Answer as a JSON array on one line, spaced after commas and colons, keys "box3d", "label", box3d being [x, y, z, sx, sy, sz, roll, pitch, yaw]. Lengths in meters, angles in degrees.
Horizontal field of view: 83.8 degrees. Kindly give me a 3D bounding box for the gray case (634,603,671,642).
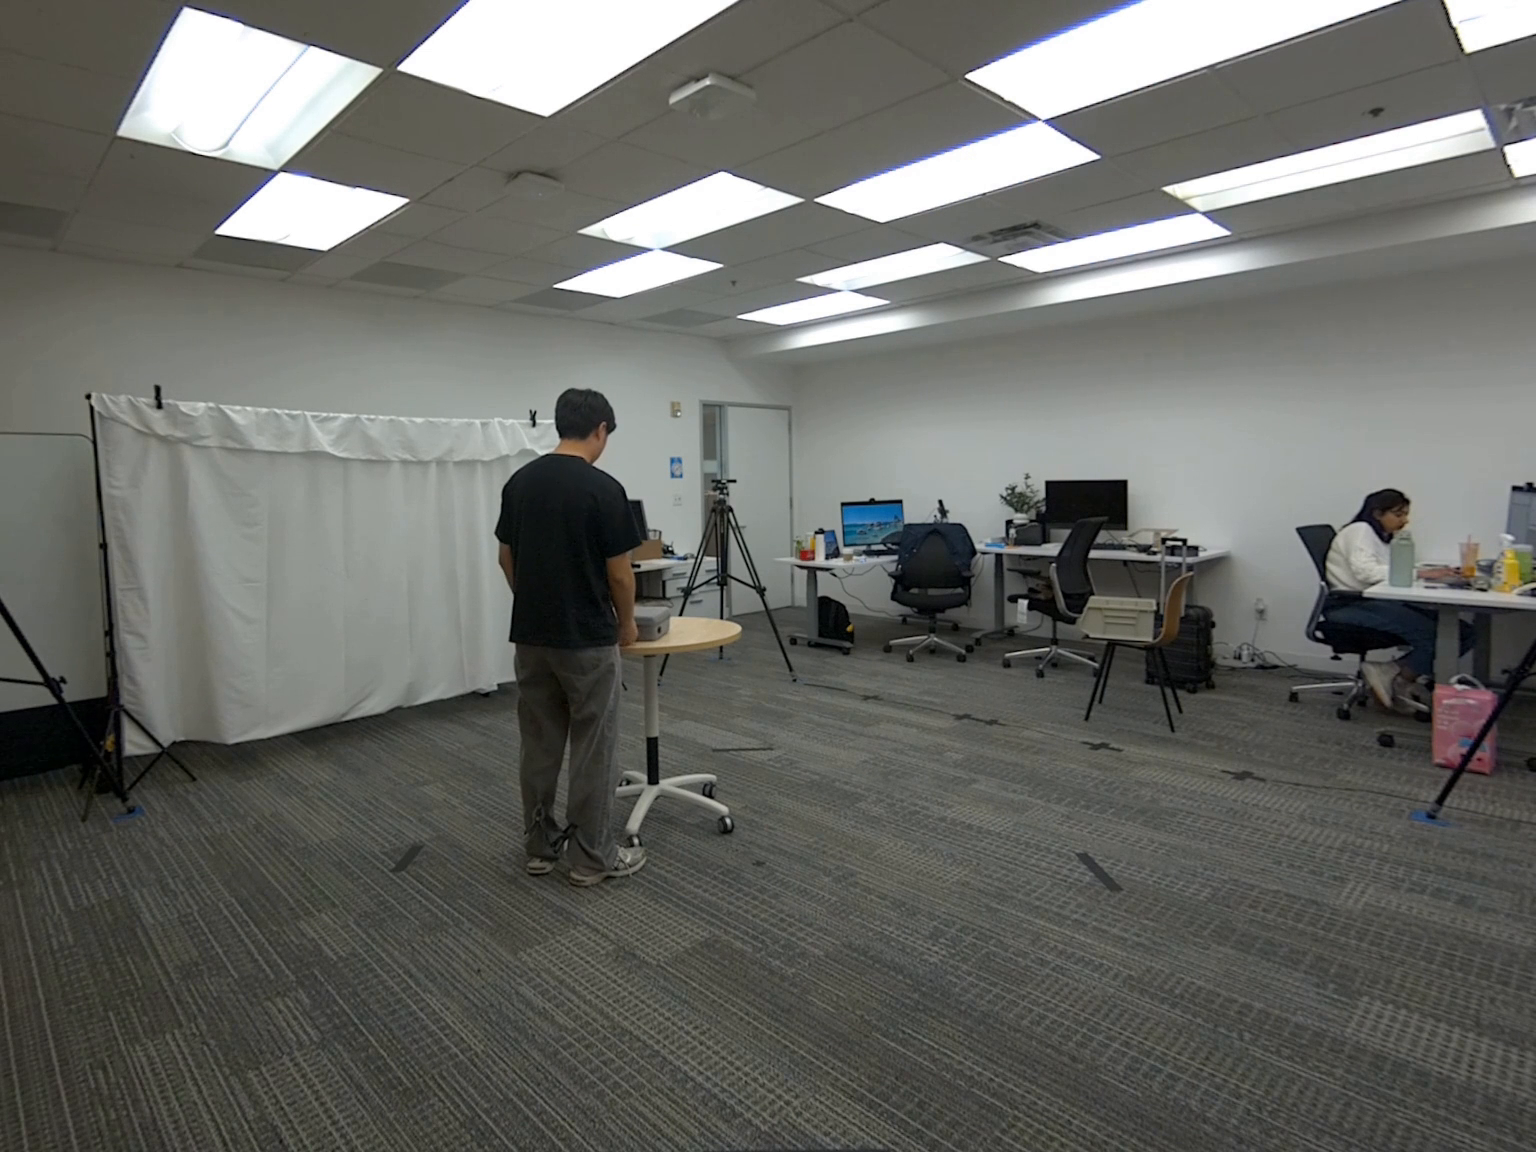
[{"box3d": [-0.528, 0.187, 3.380, 0.265, 0.102, 0.286, 0, 5, 7], "label": "gray case"}]
